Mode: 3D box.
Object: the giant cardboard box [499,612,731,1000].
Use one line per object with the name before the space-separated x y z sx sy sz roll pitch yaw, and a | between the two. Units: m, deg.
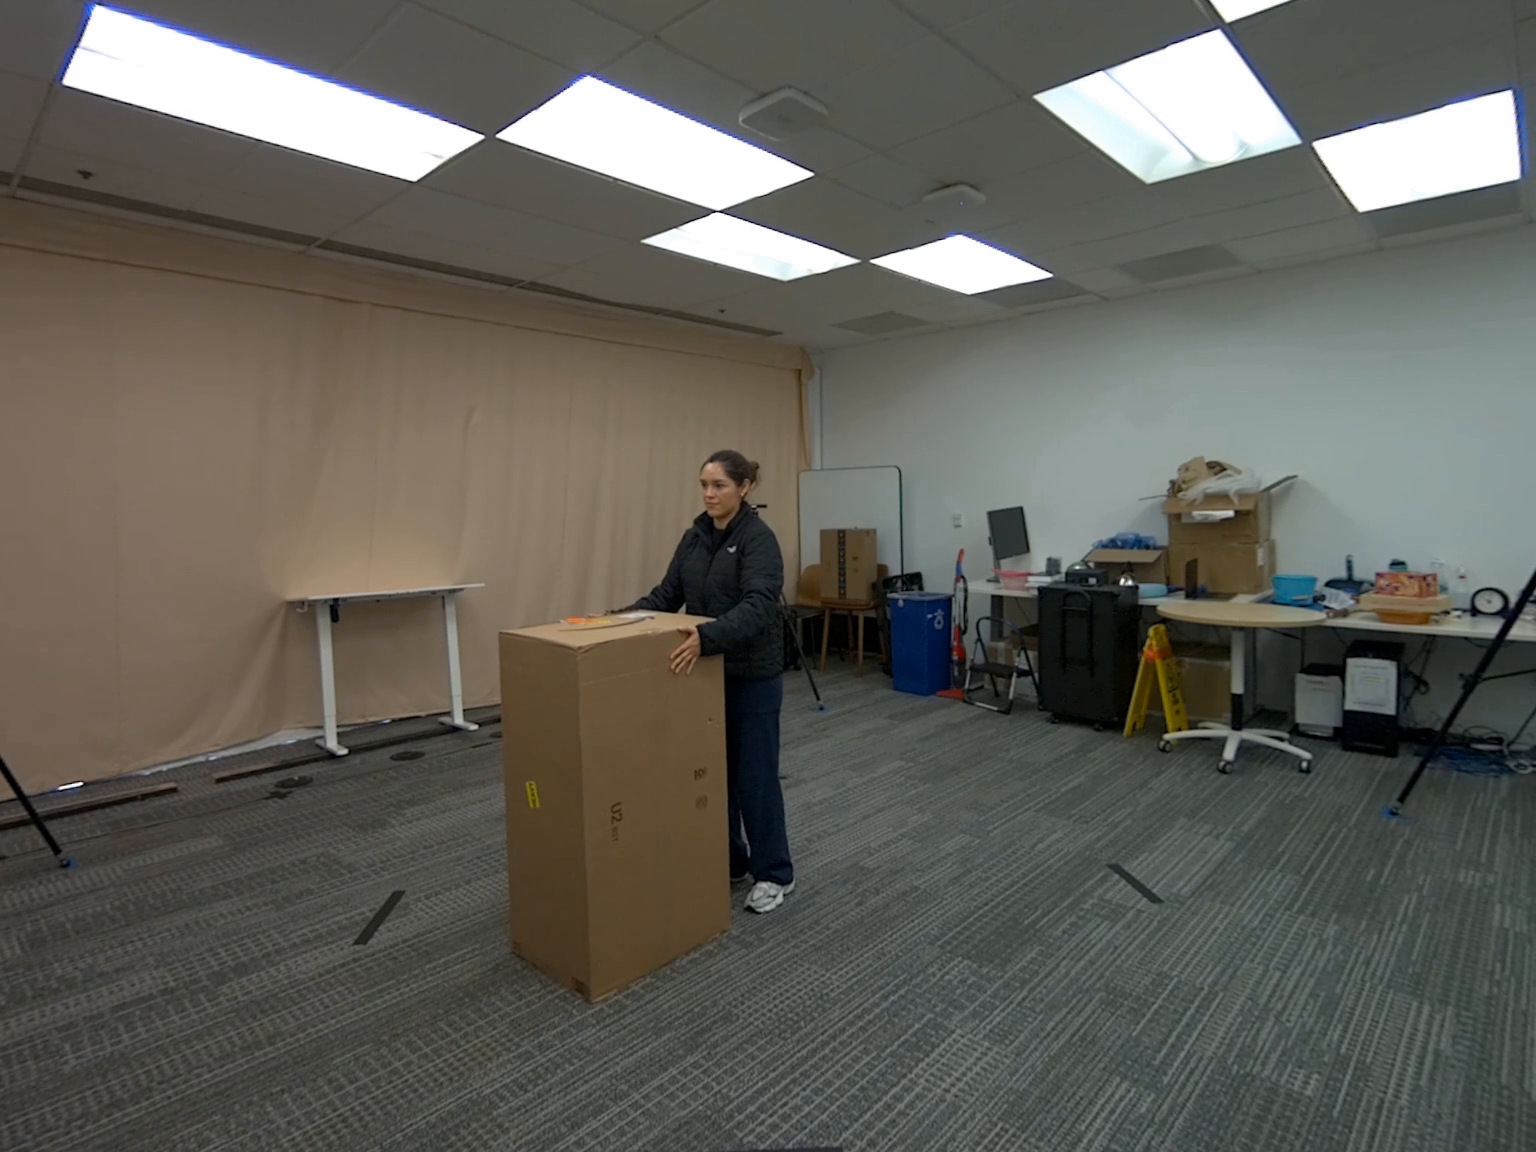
giant cardboard box | -0.470 0.669 2.673 0.440 1.023 0.560 3 6 43
